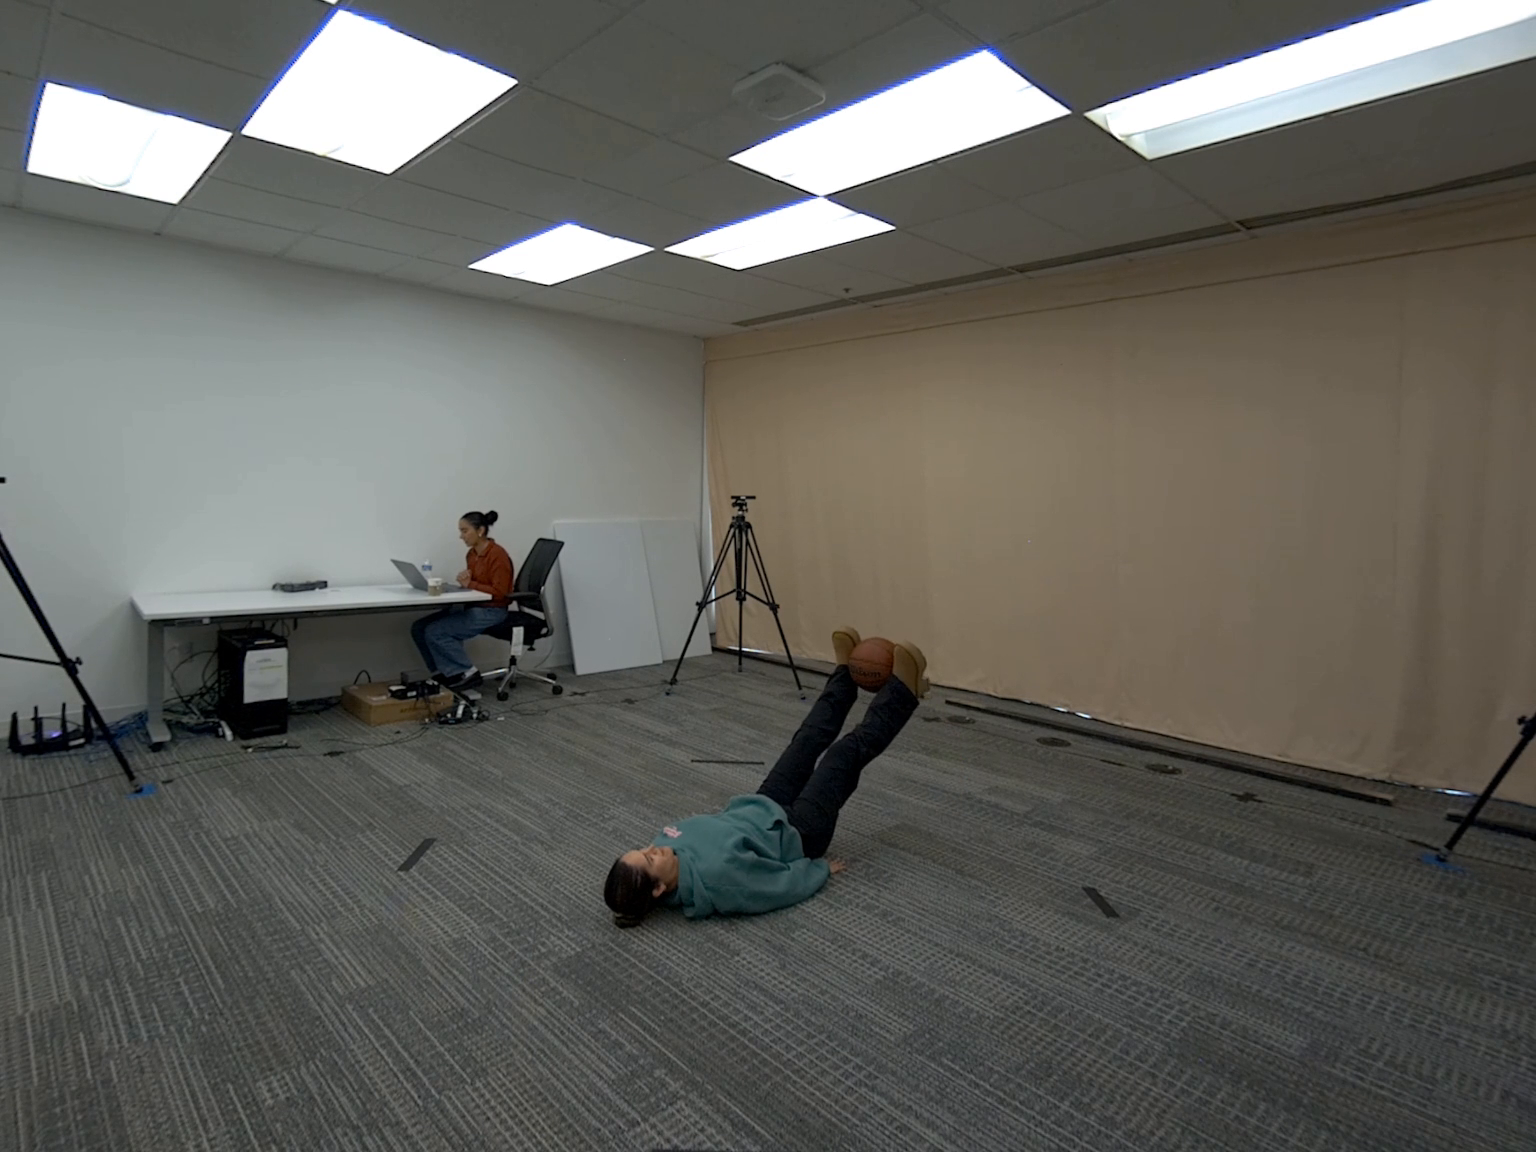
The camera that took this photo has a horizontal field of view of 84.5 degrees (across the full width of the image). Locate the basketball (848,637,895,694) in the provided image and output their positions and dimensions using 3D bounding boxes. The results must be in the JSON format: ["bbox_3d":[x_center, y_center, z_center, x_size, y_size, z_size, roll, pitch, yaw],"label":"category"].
[{"bbox_3d":[0.451,0.381,3.585,0.236,0.235,0.237,1,5,-1],"label":"basketball"}]
